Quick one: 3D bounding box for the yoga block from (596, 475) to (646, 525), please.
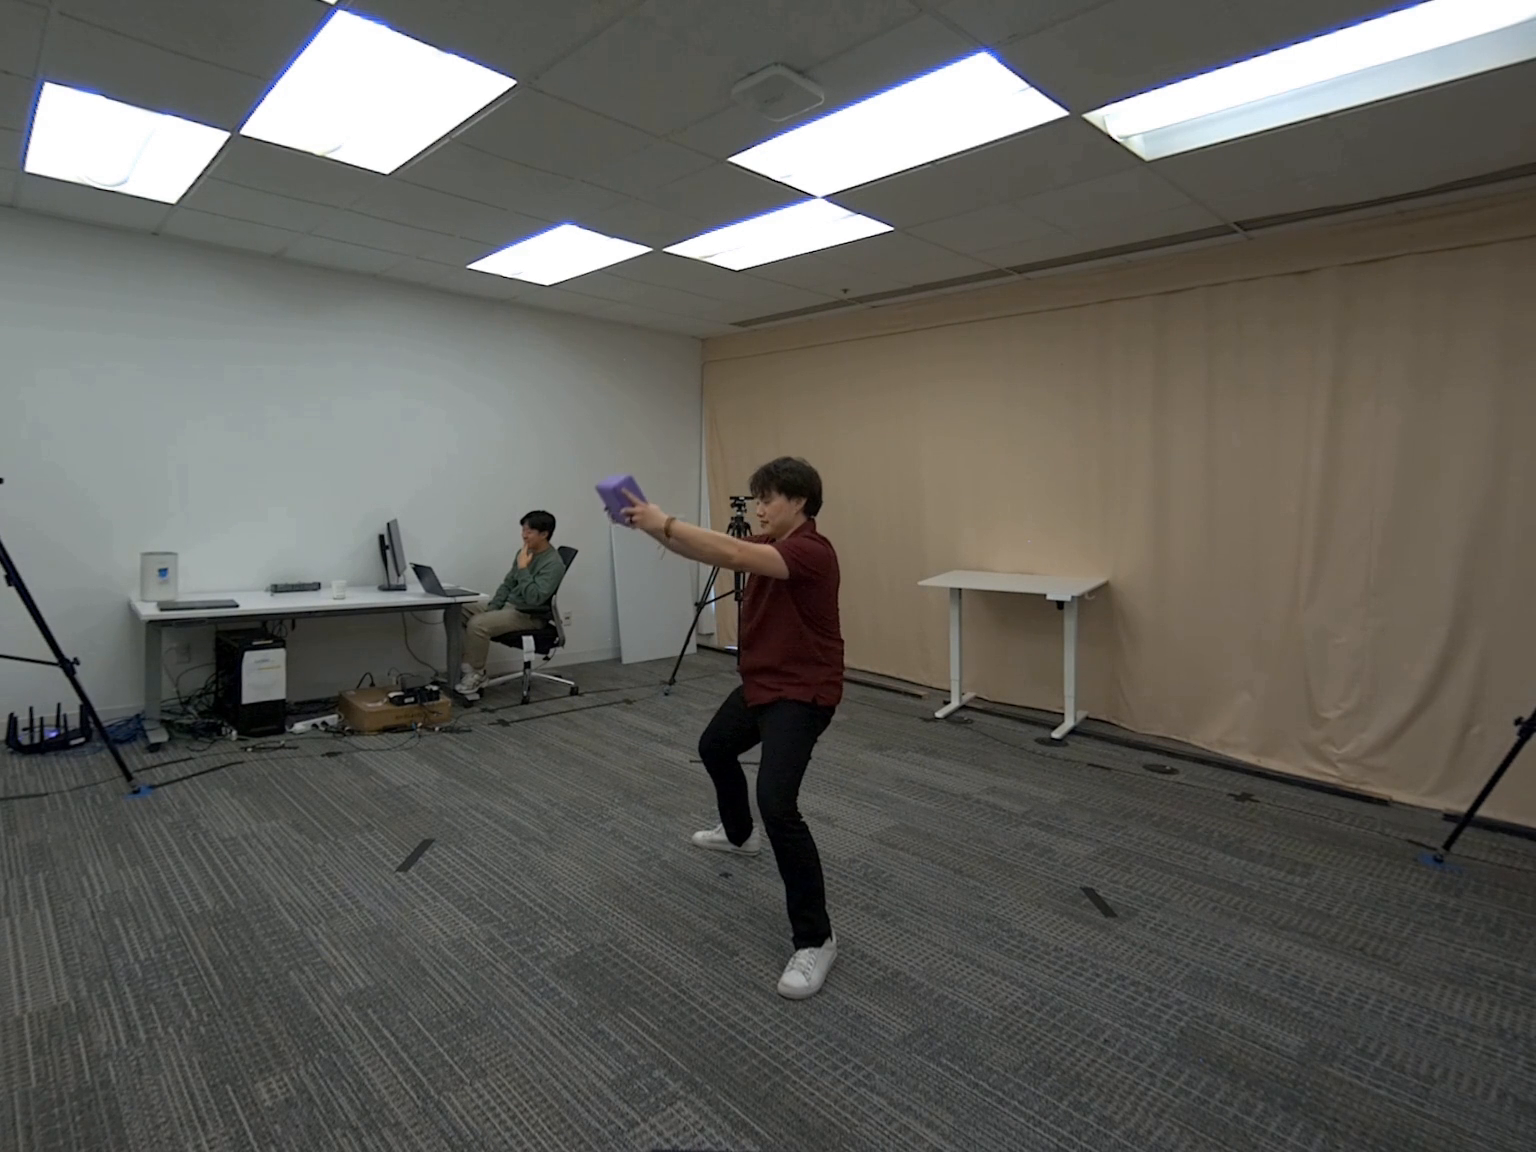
[{"bbox_3d":[-0.460,-0.235,2.682,0.076,0.147,0.233,-33,15,-13],"label":"yoga block"}]
